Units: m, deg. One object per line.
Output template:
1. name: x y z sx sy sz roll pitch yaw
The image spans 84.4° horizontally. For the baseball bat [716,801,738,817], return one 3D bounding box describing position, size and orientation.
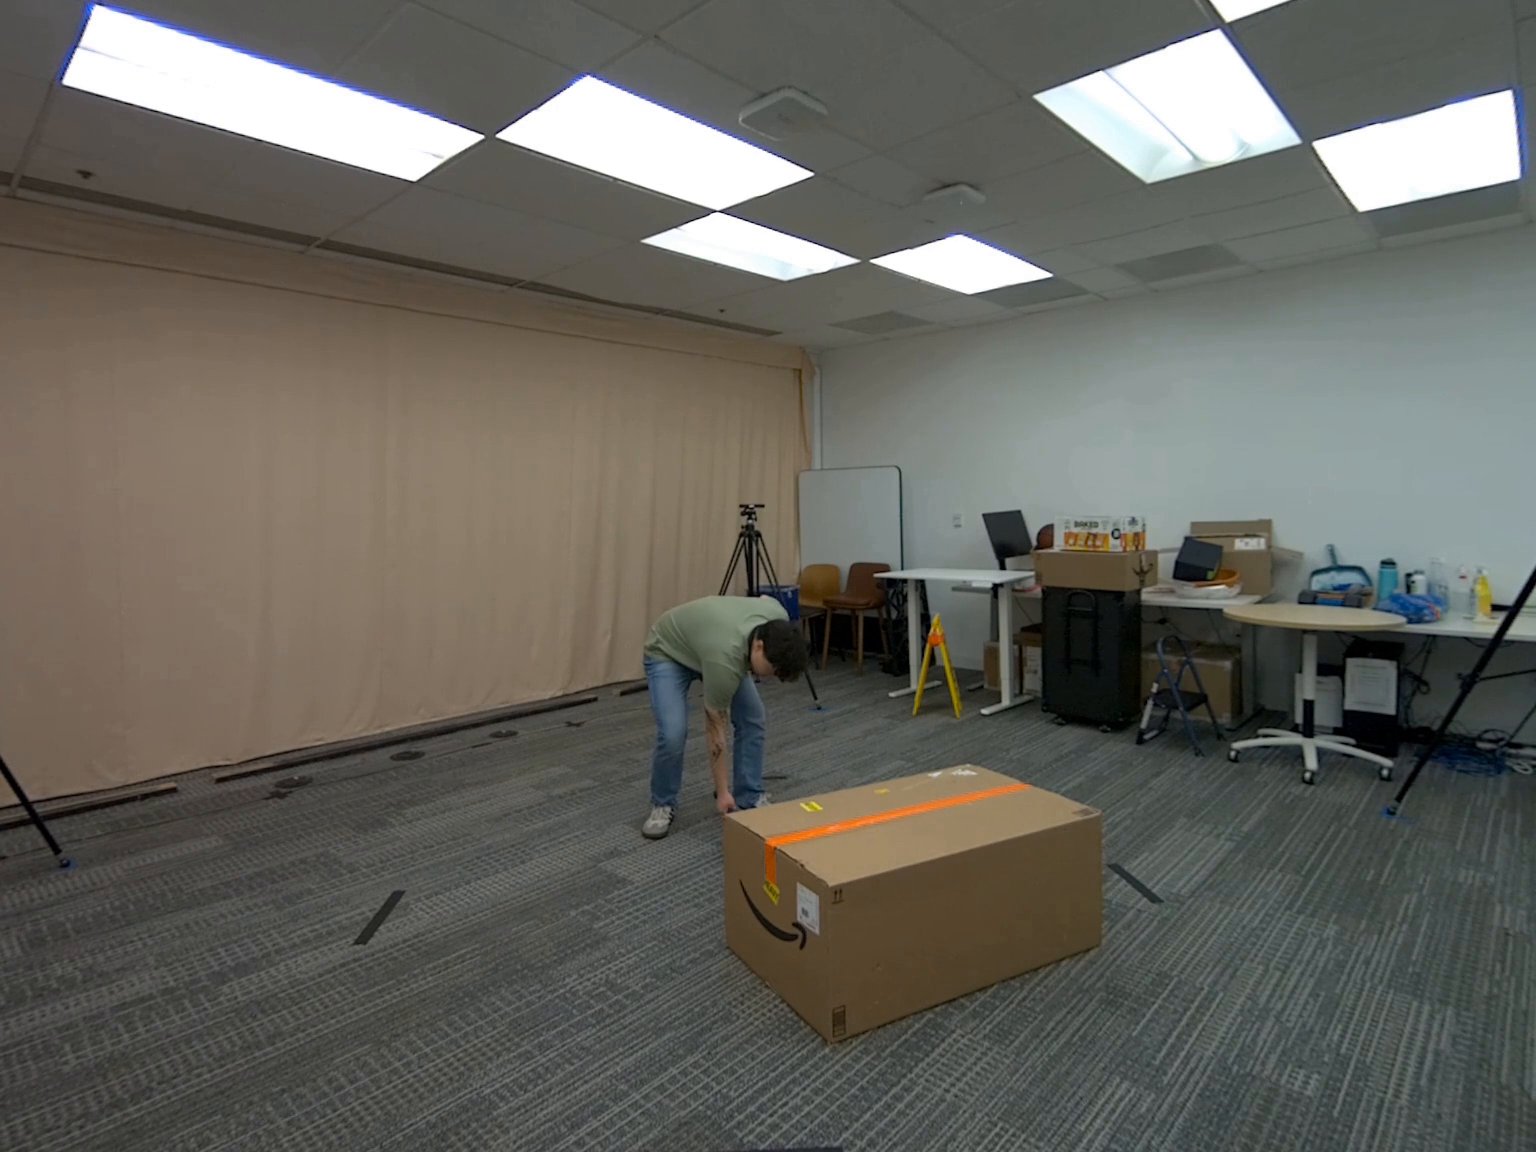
1. baseball bat: -0.099 0.995 3.348 0.087 0.088 0.558 -3 16 -21
